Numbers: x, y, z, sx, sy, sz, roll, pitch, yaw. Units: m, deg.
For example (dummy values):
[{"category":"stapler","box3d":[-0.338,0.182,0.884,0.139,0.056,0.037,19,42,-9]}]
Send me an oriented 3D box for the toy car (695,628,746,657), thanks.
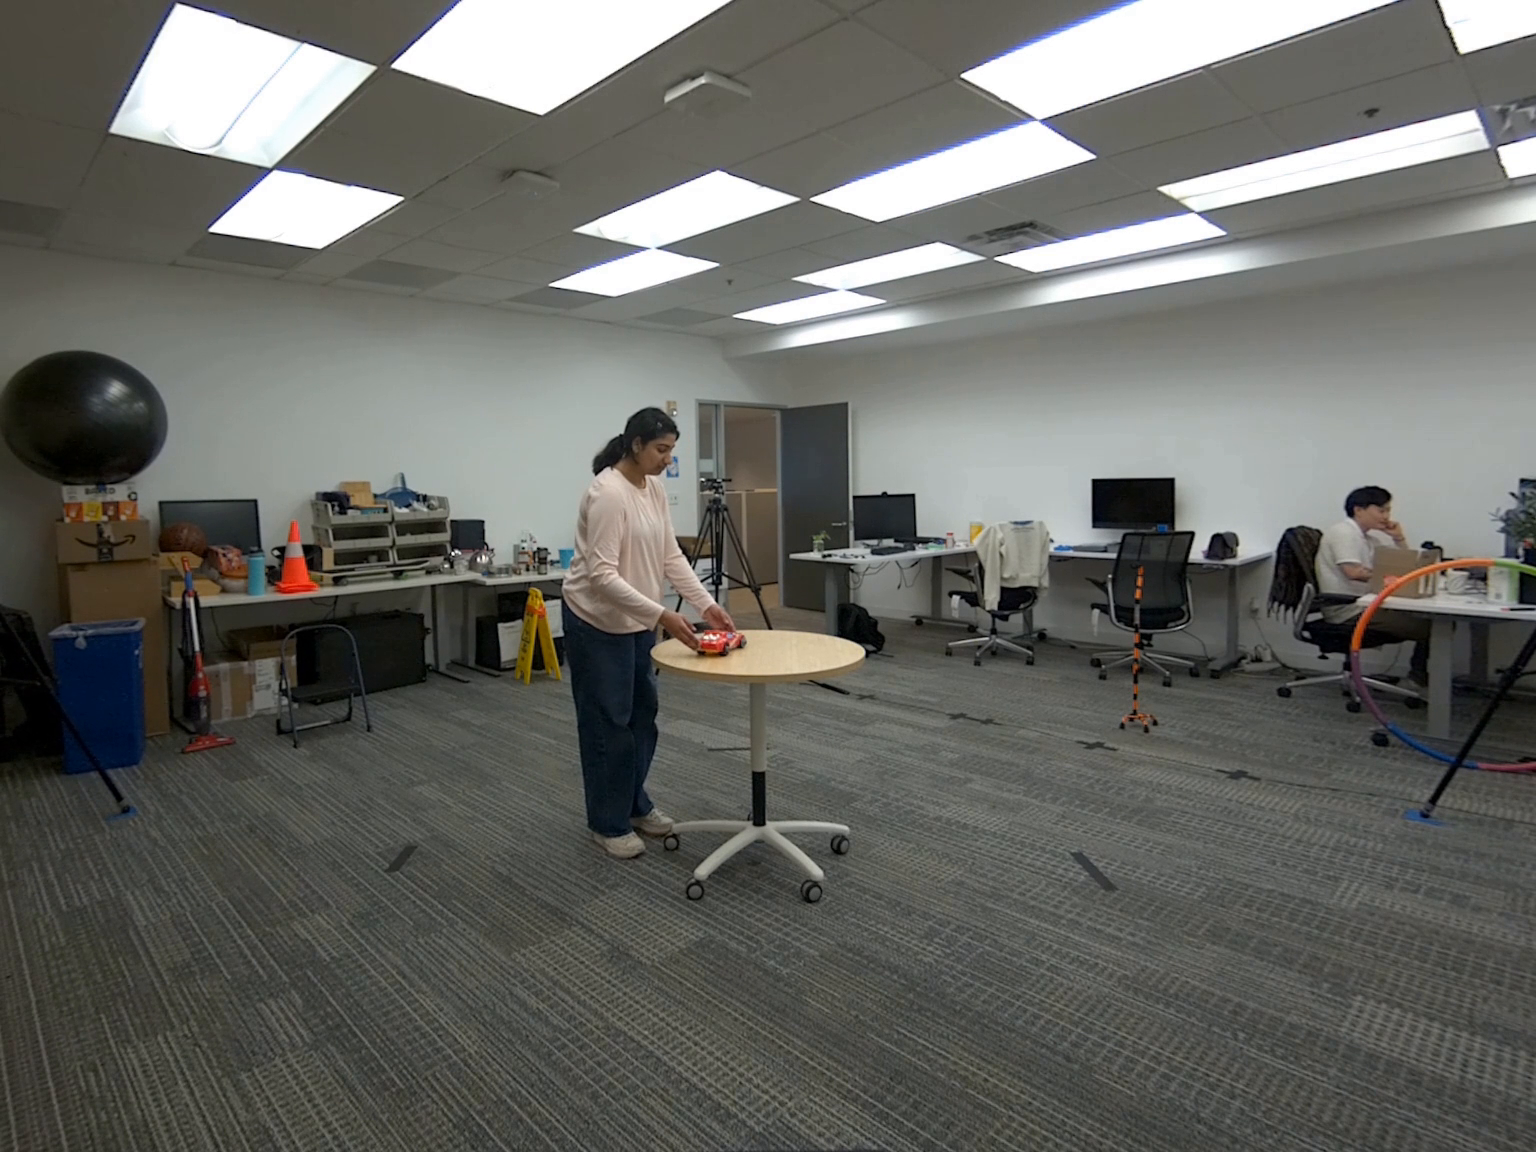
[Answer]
[{"category":"toy car","box3d":[-0.176,0.240,3.029,0.133,0.083,0.248,1,-4,22]}]
